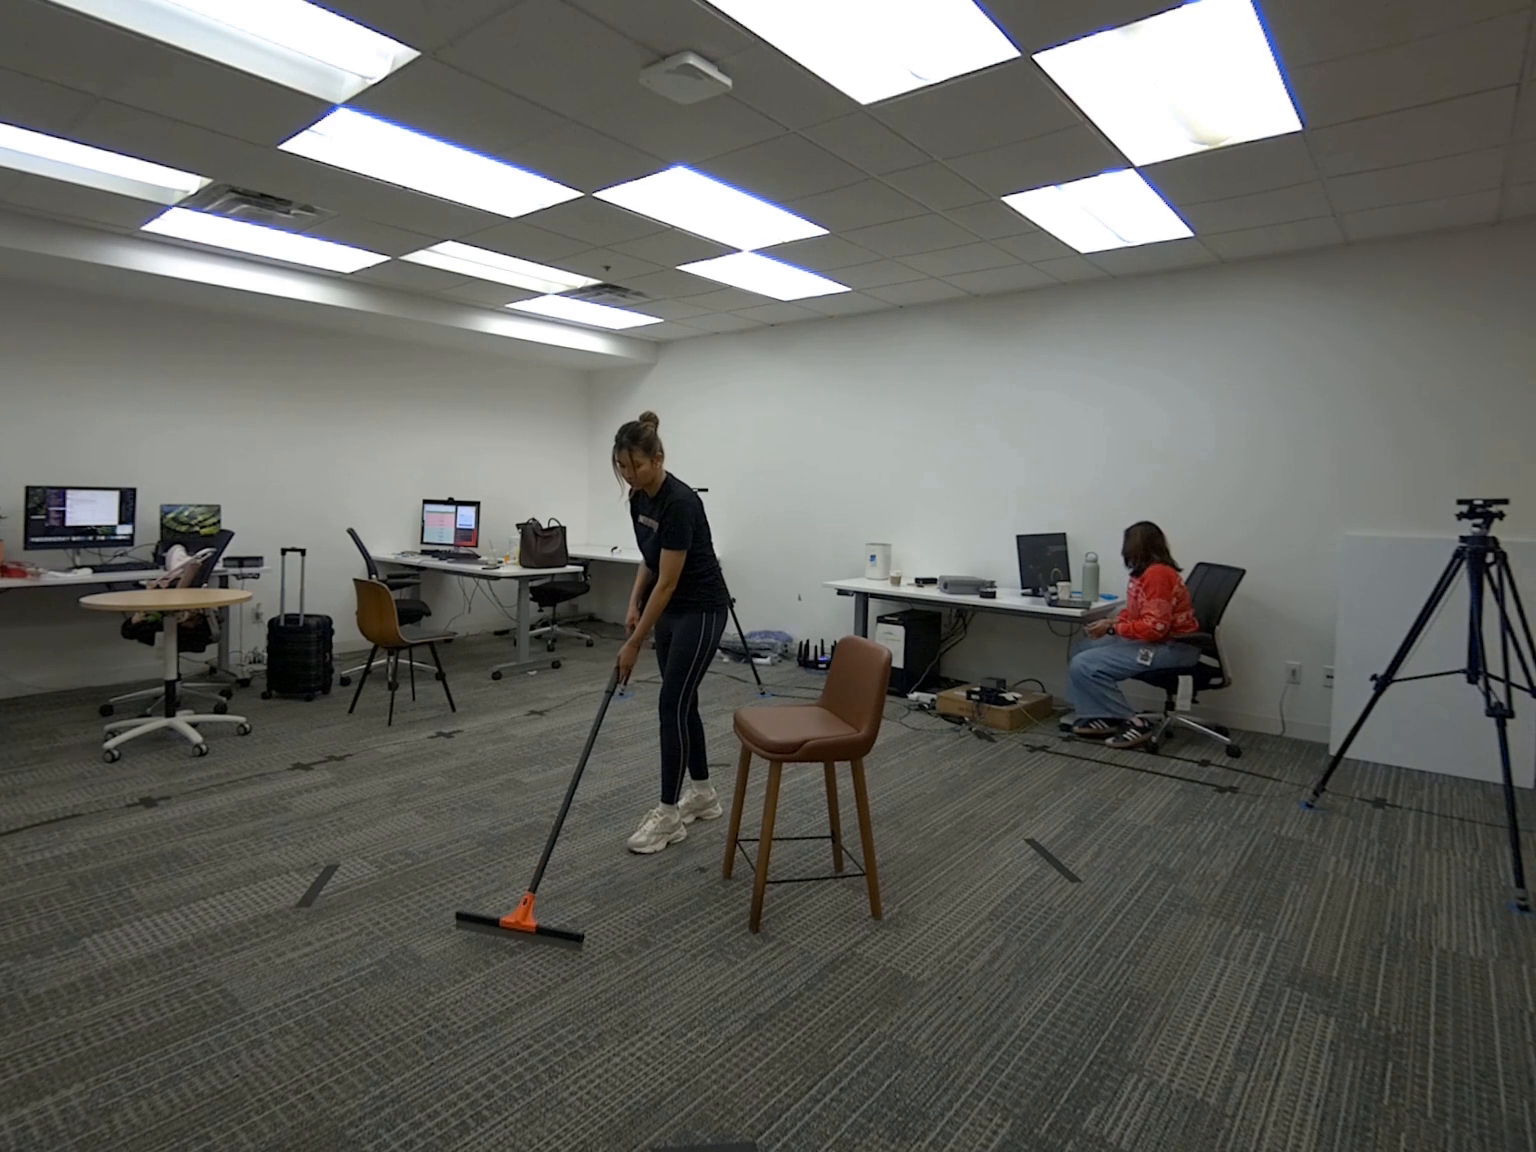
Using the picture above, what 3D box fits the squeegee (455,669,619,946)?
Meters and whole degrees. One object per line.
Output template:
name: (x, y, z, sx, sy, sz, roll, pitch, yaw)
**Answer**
squeegee: (-0.625, 0.508, 3.060, 0.445, 0.051, 1.567, 1, 47, 14)
